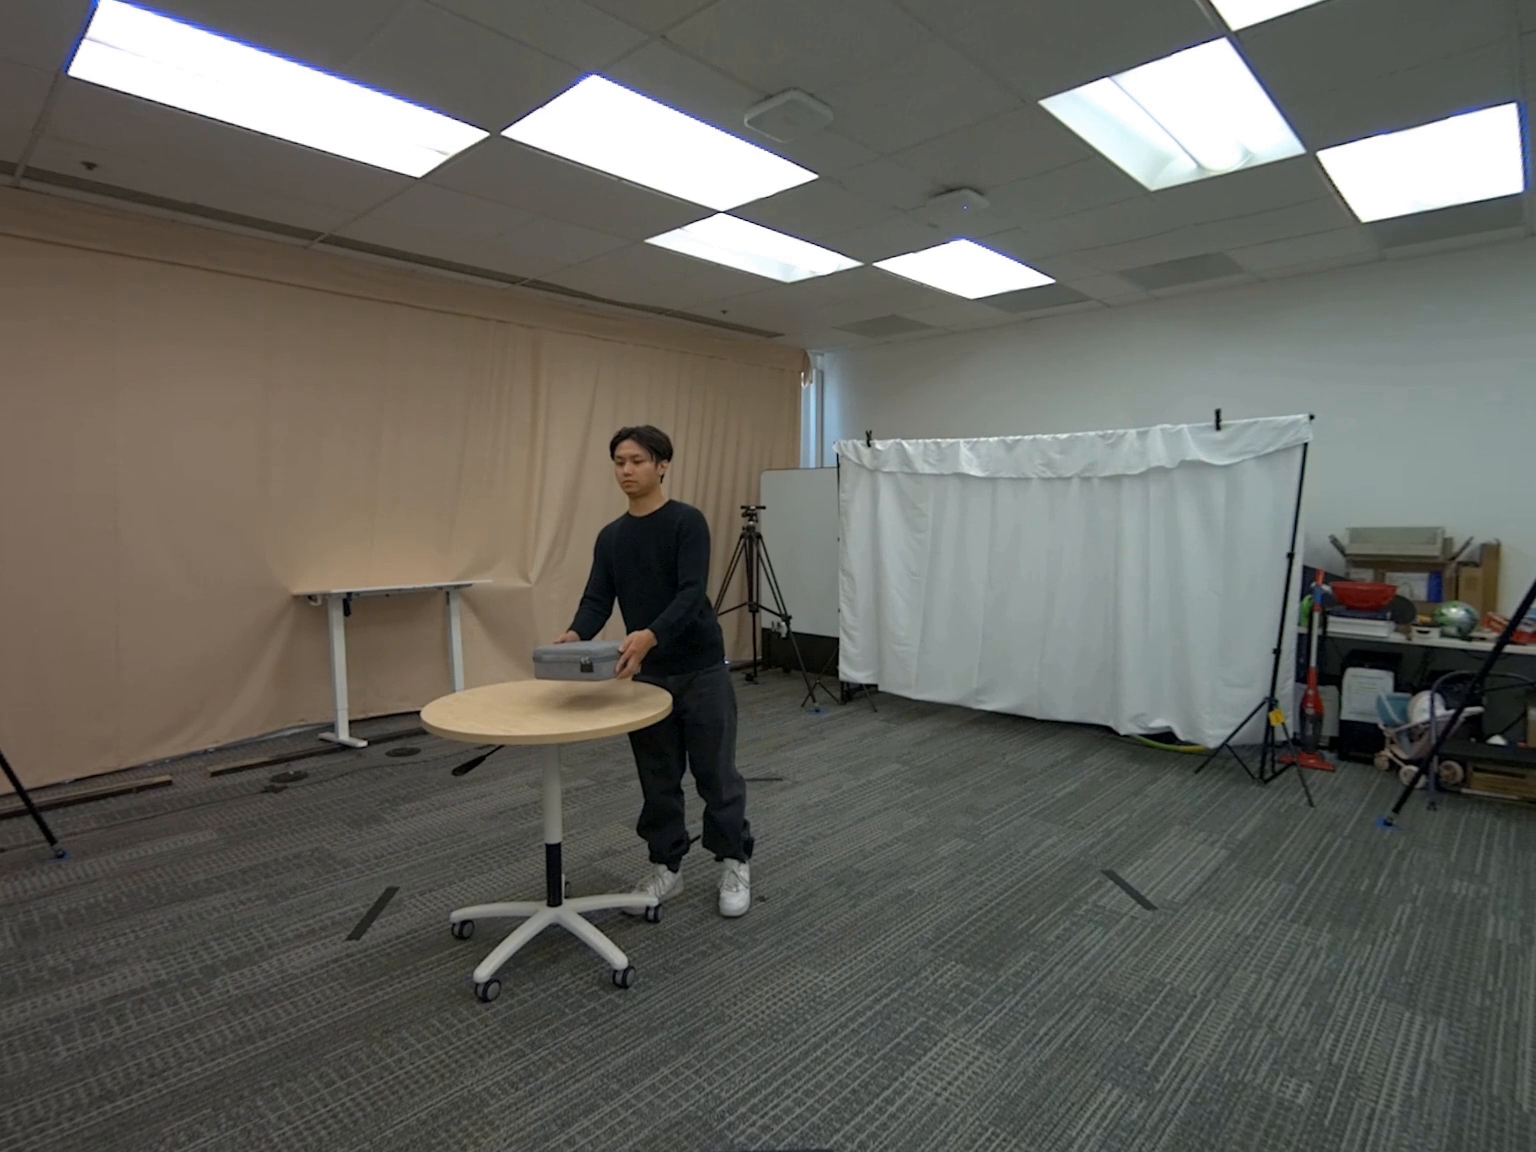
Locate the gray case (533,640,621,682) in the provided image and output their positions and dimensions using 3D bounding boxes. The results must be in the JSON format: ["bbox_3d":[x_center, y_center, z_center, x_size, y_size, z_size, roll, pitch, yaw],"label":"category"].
[{"bbox_3d":[-0.561,0.258,2.591,0.263,0.104,0.254,-3,0,27],"label":"gray case"}]
